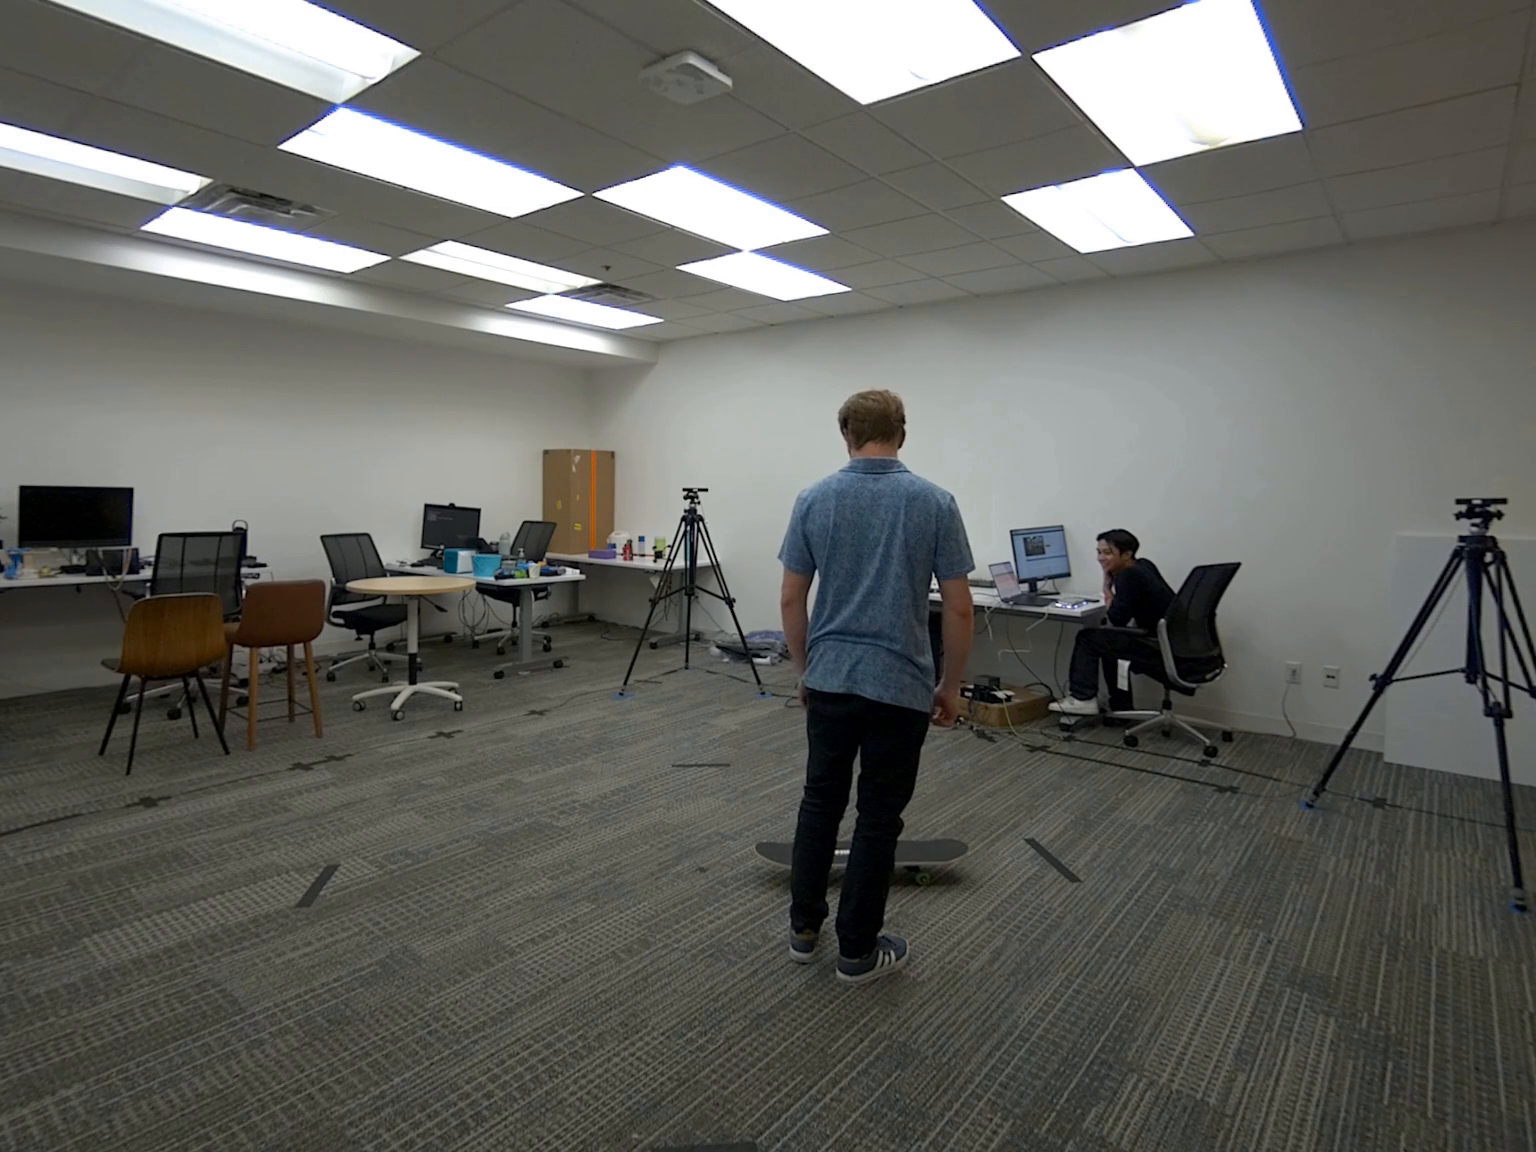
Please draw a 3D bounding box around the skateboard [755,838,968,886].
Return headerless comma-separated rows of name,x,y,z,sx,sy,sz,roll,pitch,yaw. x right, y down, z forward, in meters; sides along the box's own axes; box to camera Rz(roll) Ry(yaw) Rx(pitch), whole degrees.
skateboard,0.334,1.028,3.078,0.780,0.110,0.195,1,4,-7
